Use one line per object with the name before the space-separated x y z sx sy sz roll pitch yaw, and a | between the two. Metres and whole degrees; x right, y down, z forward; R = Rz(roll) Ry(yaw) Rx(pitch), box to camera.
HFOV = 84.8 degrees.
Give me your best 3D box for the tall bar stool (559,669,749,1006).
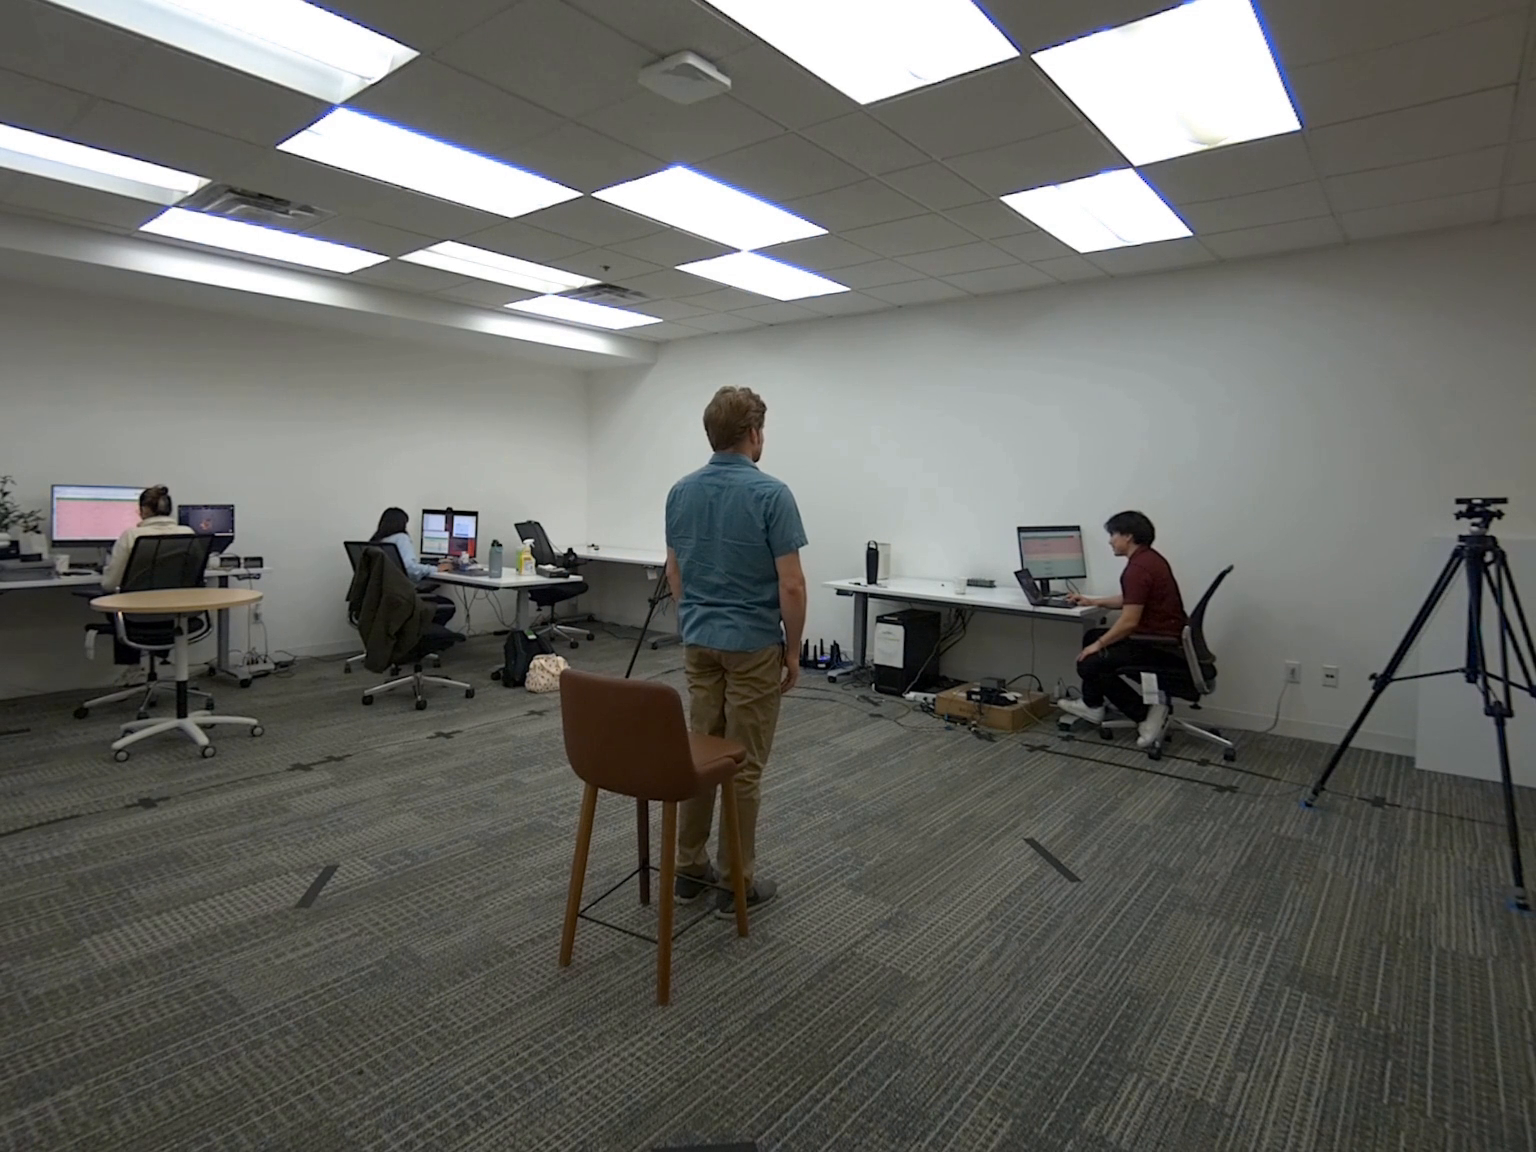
tall bar stool | -0.350 0.688 2.542 0.470 0.886 0.456 2 6 29
